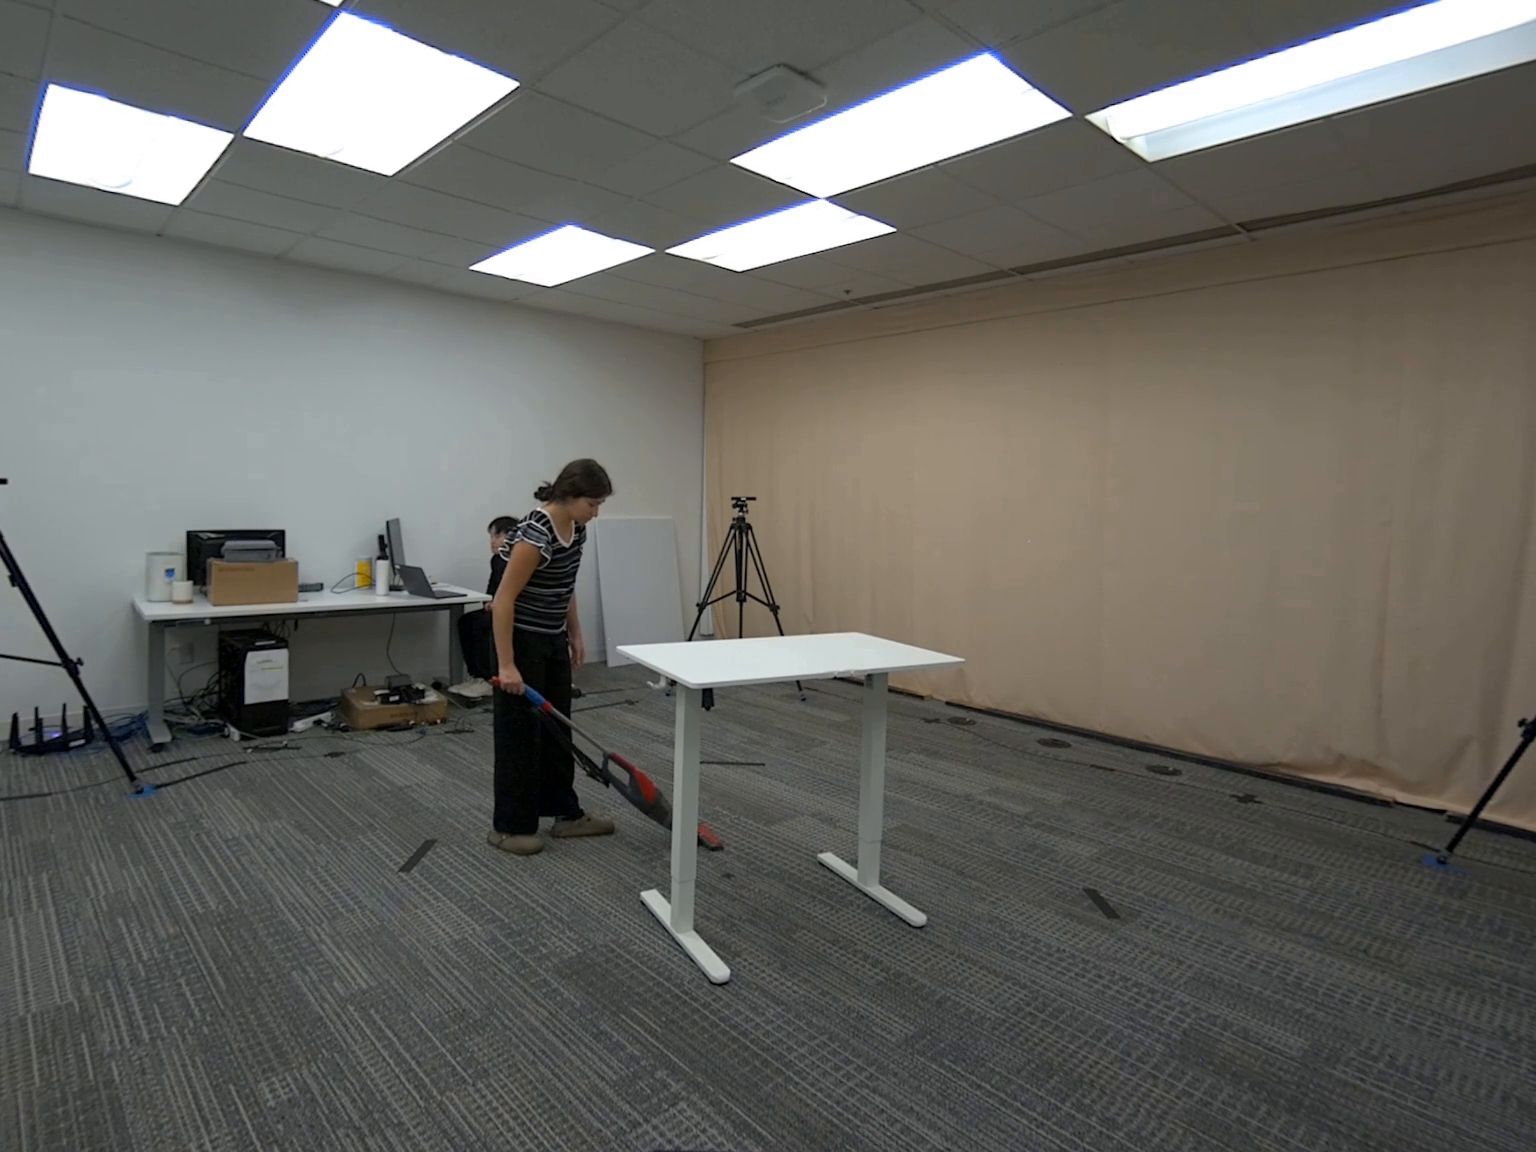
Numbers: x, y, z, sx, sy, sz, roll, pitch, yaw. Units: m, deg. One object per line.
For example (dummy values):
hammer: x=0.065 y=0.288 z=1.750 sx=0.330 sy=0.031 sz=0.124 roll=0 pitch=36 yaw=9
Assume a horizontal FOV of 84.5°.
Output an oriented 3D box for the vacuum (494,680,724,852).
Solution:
vacuum: x=-0.634 y=0.749 z=3.270 sx=1.029 sy=0.144 sz=0.257 roll=39 pitch=-12 yaw=-18
